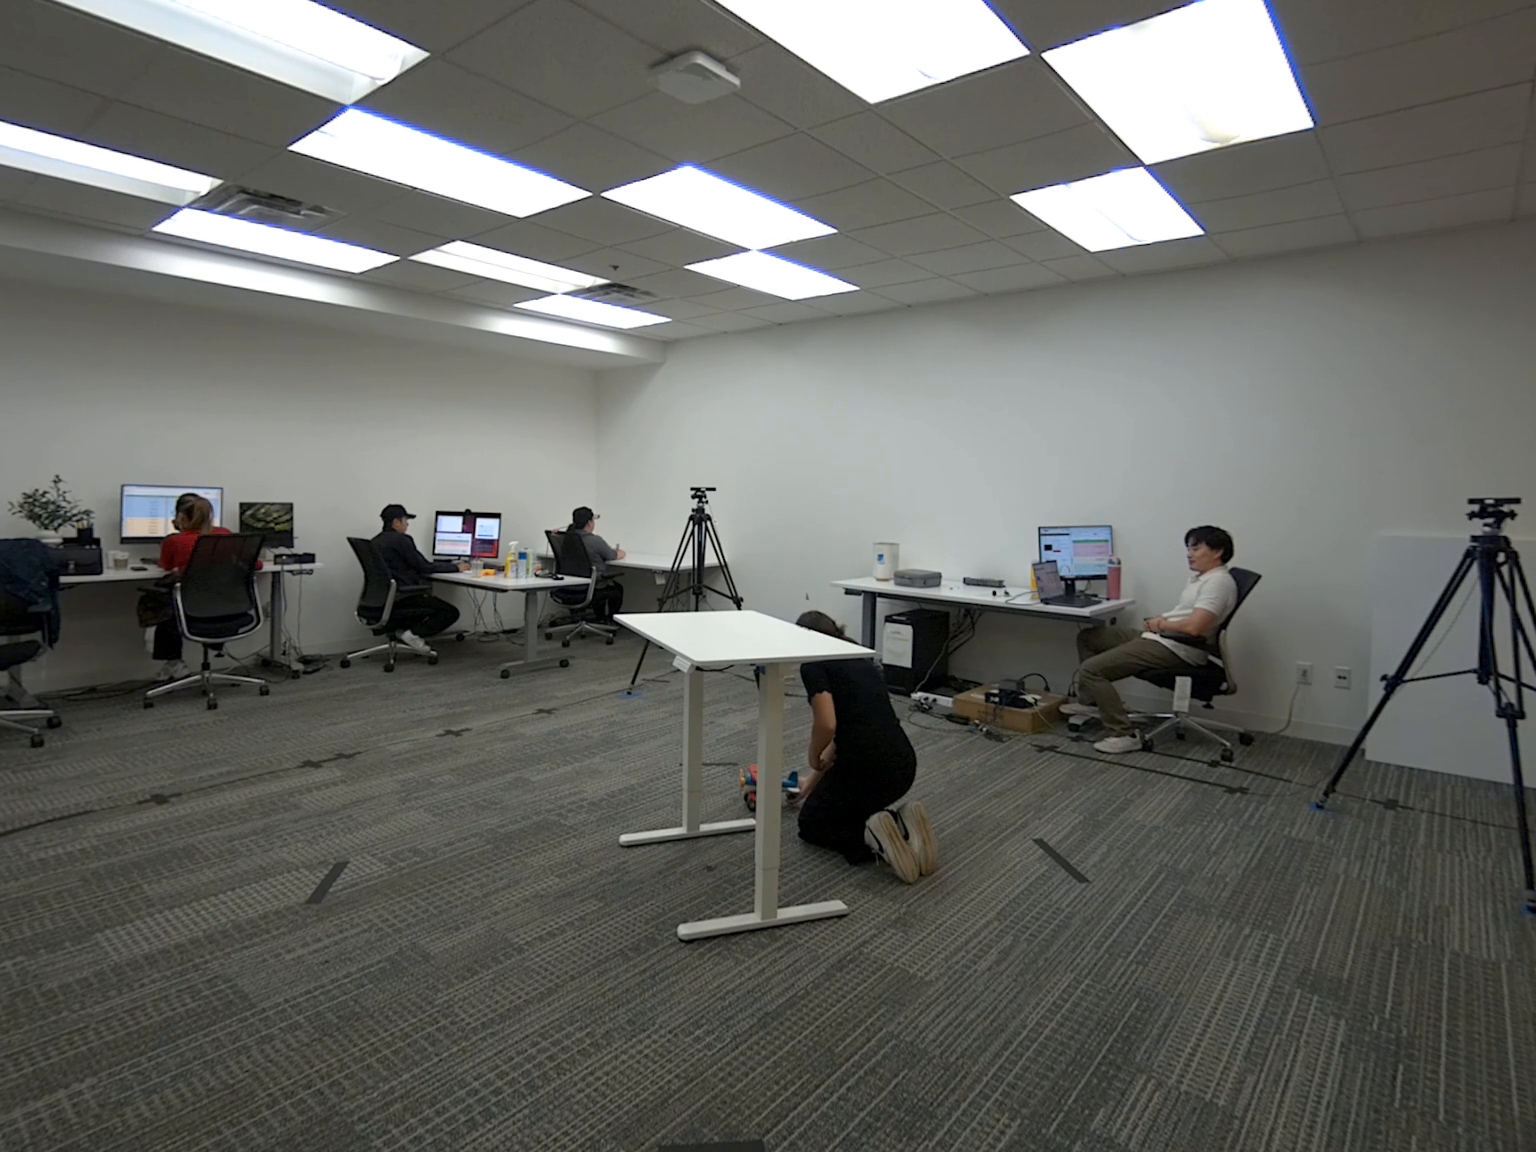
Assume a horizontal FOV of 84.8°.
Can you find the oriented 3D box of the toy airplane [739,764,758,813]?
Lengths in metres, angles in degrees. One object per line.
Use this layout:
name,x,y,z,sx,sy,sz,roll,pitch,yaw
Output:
toy airplane,-0.010,0.922,3.756,0.253,0.155,0.259,-13,9,-36
